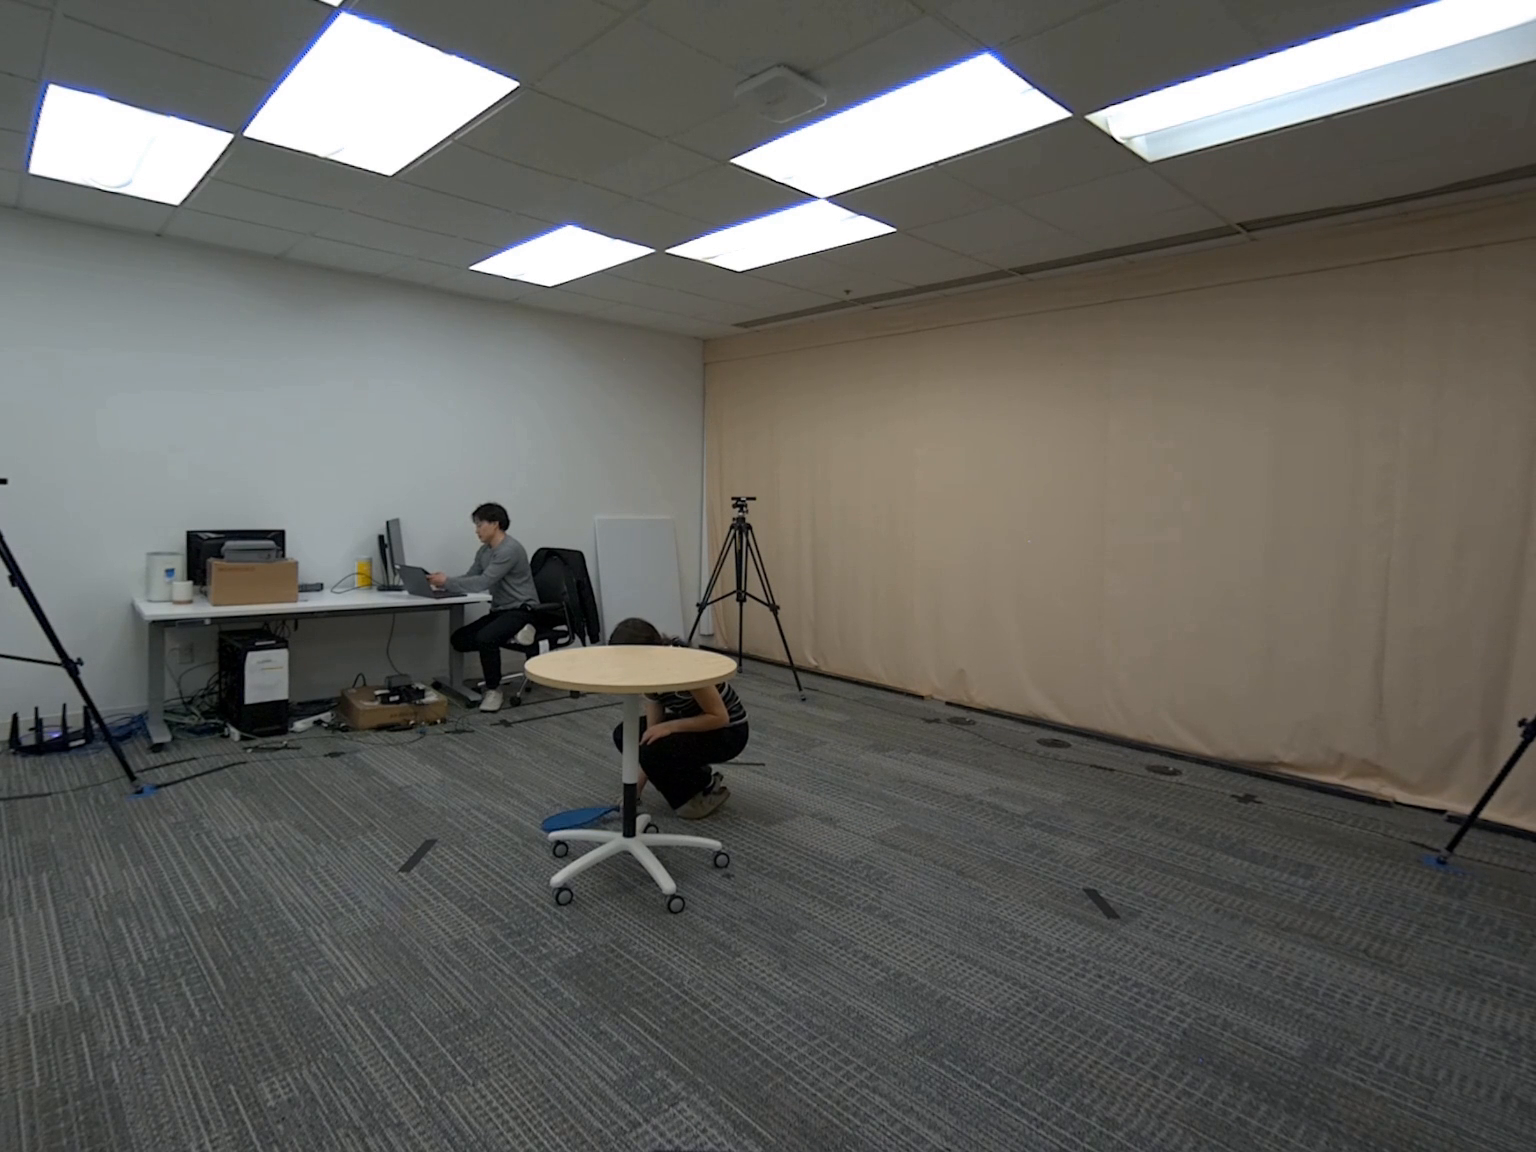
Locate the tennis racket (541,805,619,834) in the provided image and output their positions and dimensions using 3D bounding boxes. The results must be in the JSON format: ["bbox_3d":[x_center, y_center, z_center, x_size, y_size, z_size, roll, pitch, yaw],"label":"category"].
[{"bbox_3d":[-0.750,1.005,3.566,0.429,0.031,0.216,-8,5,-13],"label":"tennis racket"}]
